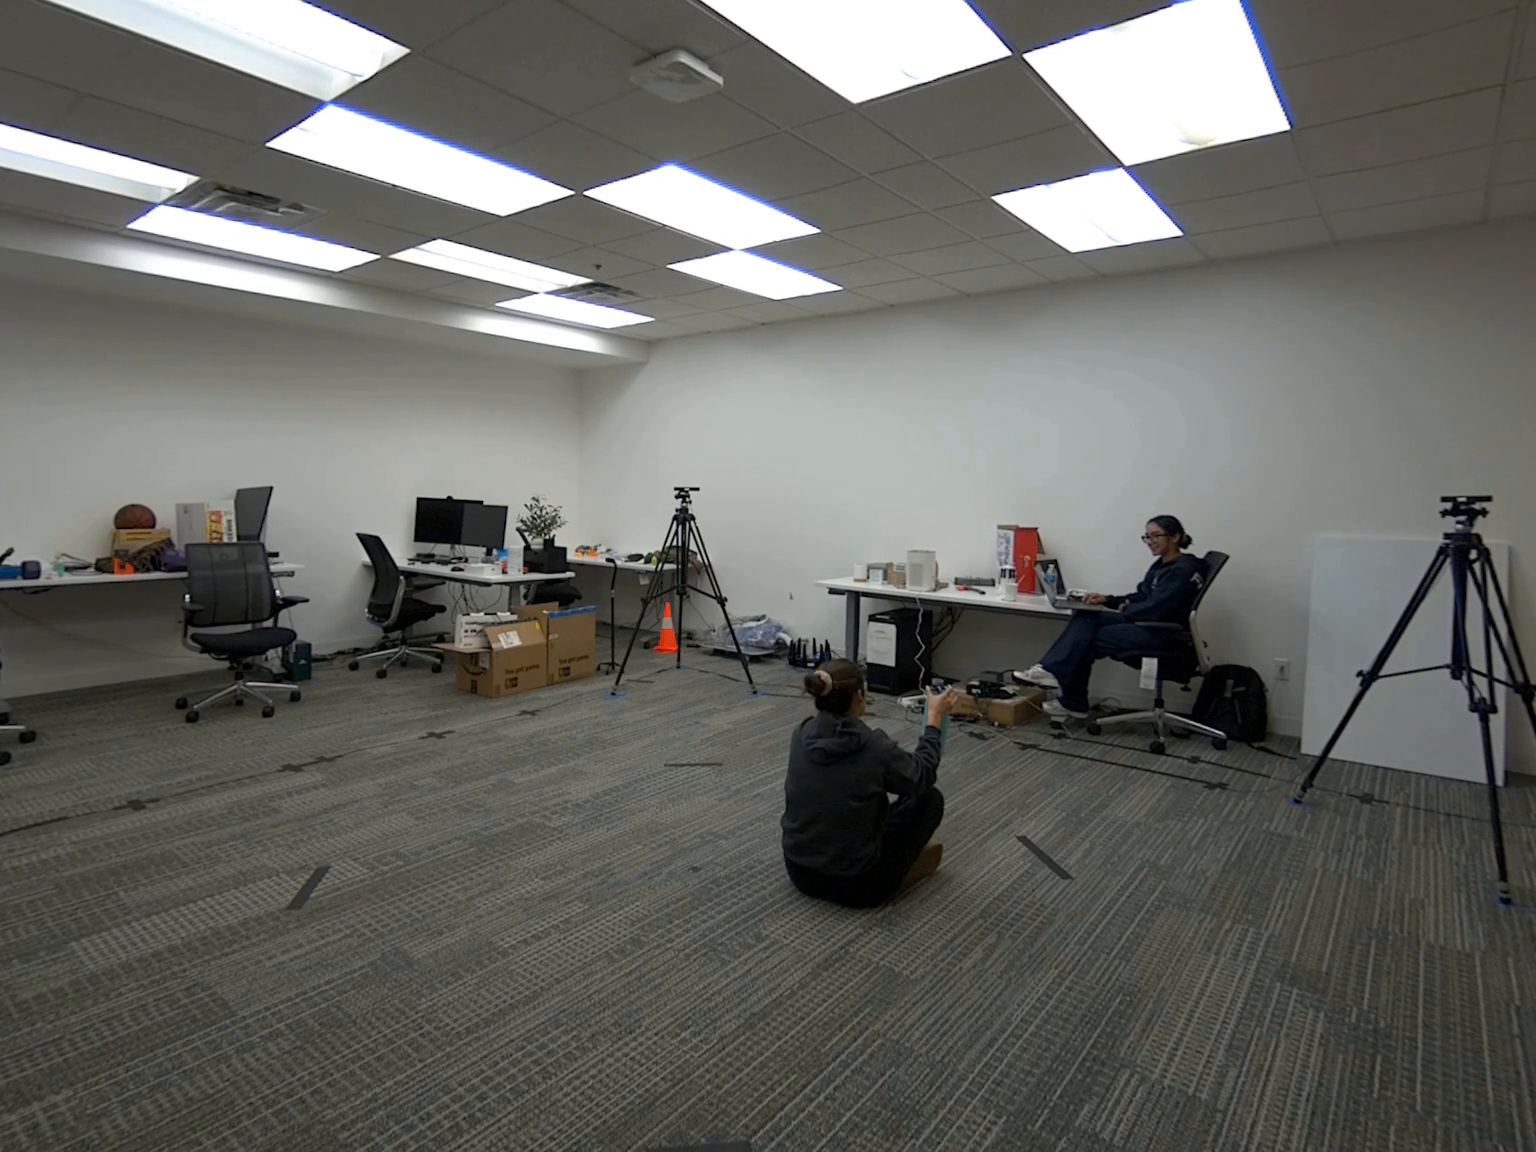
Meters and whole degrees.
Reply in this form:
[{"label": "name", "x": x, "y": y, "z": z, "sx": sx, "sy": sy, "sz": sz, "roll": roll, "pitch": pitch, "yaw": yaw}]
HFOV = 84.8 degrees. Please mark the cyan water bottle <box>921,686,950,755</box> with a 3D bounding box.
[{"label": "cyan water bottle", "x": 0.634, "y": 0.518, "z": 3.192, "sx": 0.092, "sy": 0.280, "sz": 0.093, "roll": 5, "pitch": 12, "yaw": -3}]
